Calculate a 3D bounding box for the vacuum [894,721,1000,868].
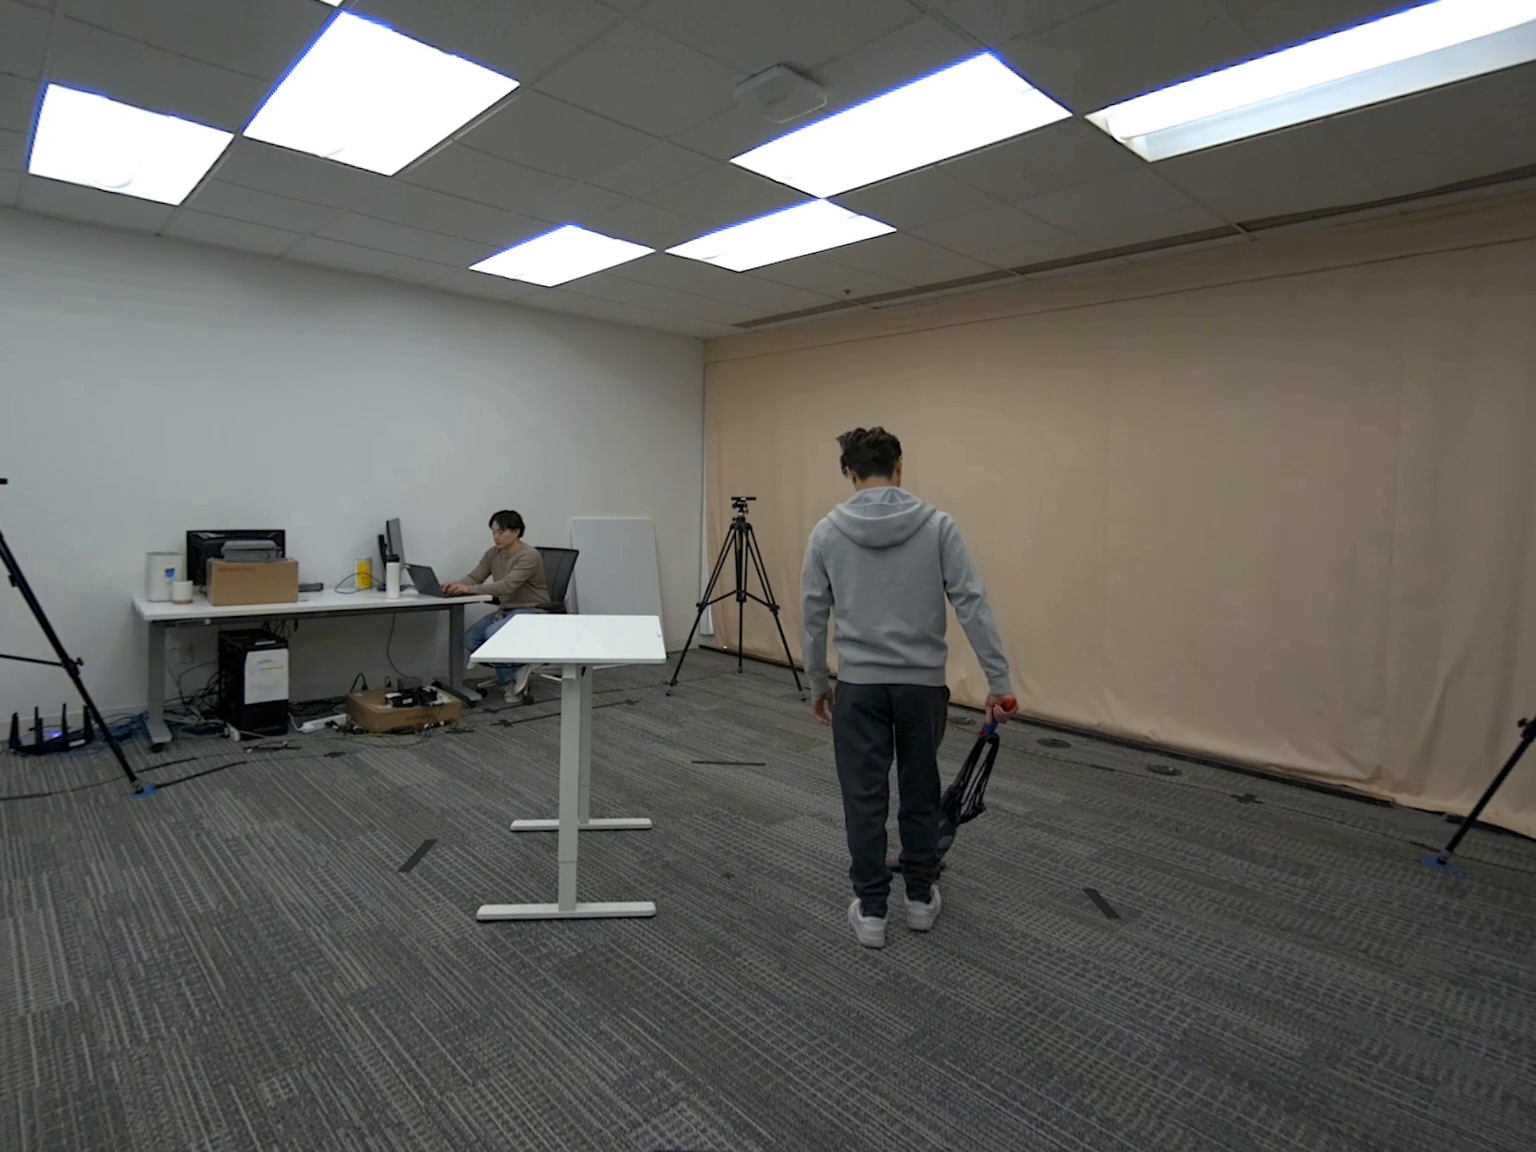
[{"bbox_3d":[0.637,0.752,2.837,0.251,1.032,0.147,6,44,-8],"label":"vacuum"}]
